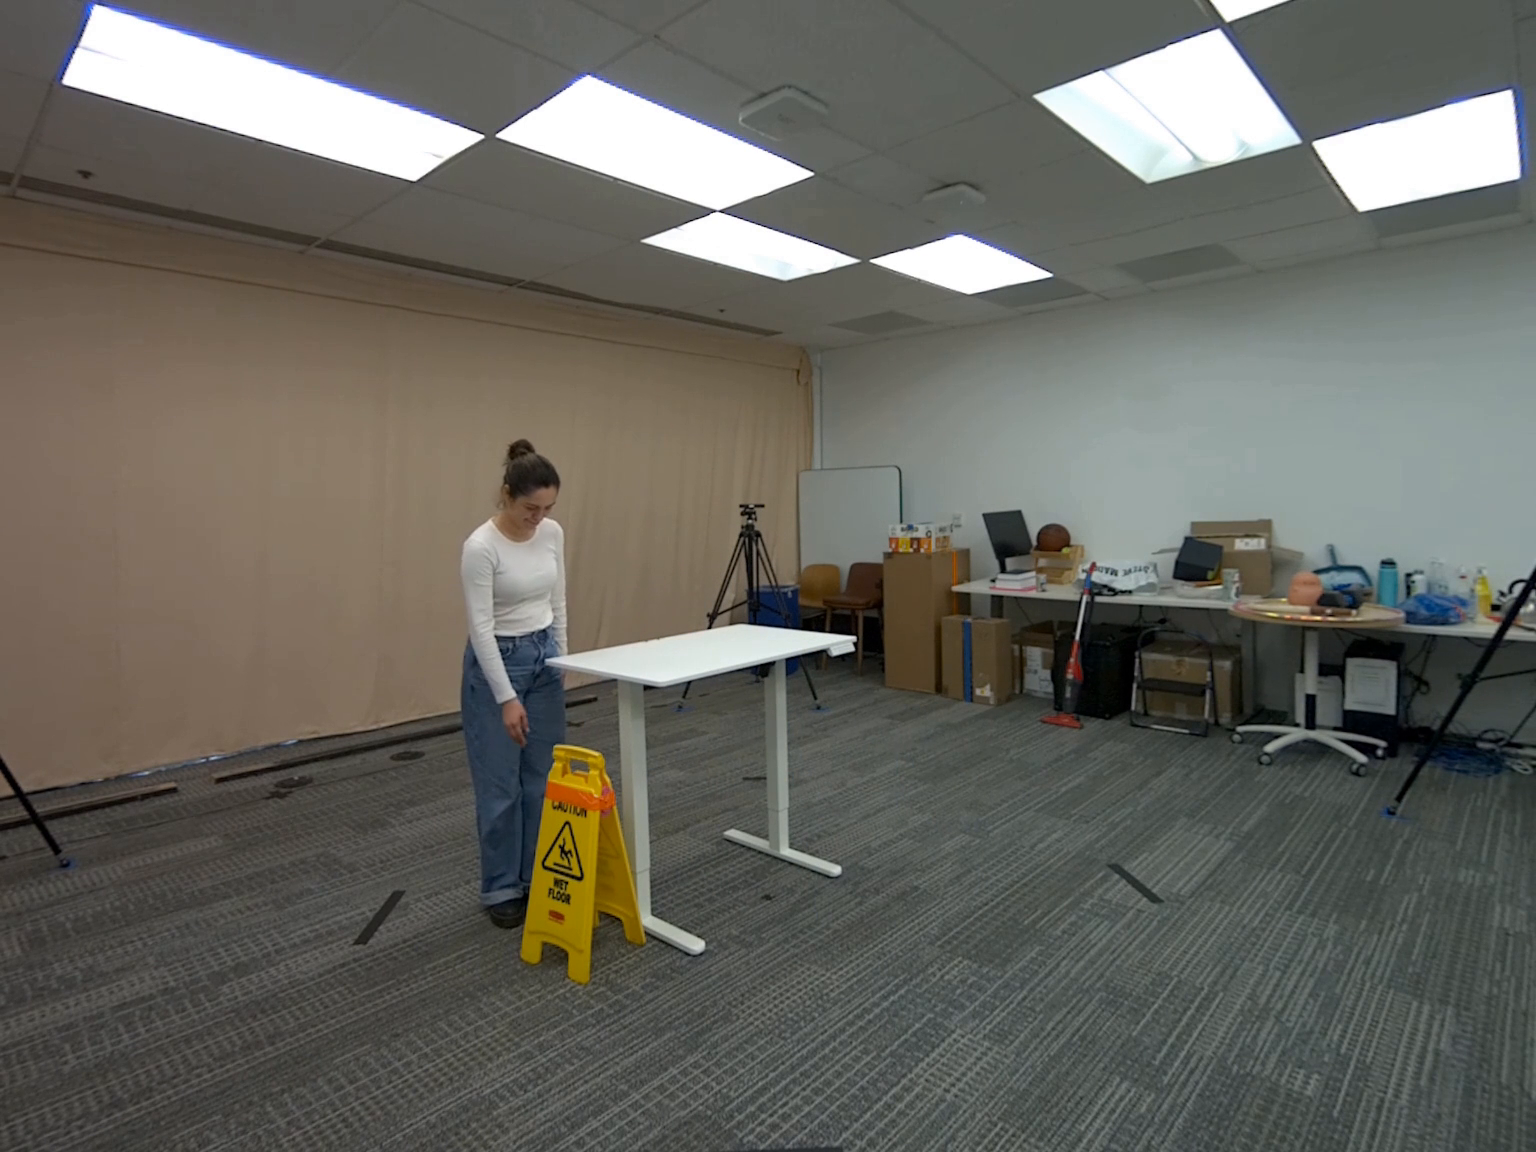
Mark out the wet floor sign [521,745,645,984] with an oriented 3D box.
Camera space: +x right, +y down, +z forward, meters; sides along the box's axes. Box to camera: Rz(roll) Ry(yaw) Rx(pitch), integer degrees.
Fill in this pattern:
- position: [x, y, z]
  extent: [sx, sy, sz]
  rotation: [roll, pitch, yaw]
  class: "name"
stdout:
- position: [-0.587, 0.862, 2.627]
  extent: [0.291, 0.645, 0.281]
  rotation: [0, 4, 34]
  class: "wet floor sign"
